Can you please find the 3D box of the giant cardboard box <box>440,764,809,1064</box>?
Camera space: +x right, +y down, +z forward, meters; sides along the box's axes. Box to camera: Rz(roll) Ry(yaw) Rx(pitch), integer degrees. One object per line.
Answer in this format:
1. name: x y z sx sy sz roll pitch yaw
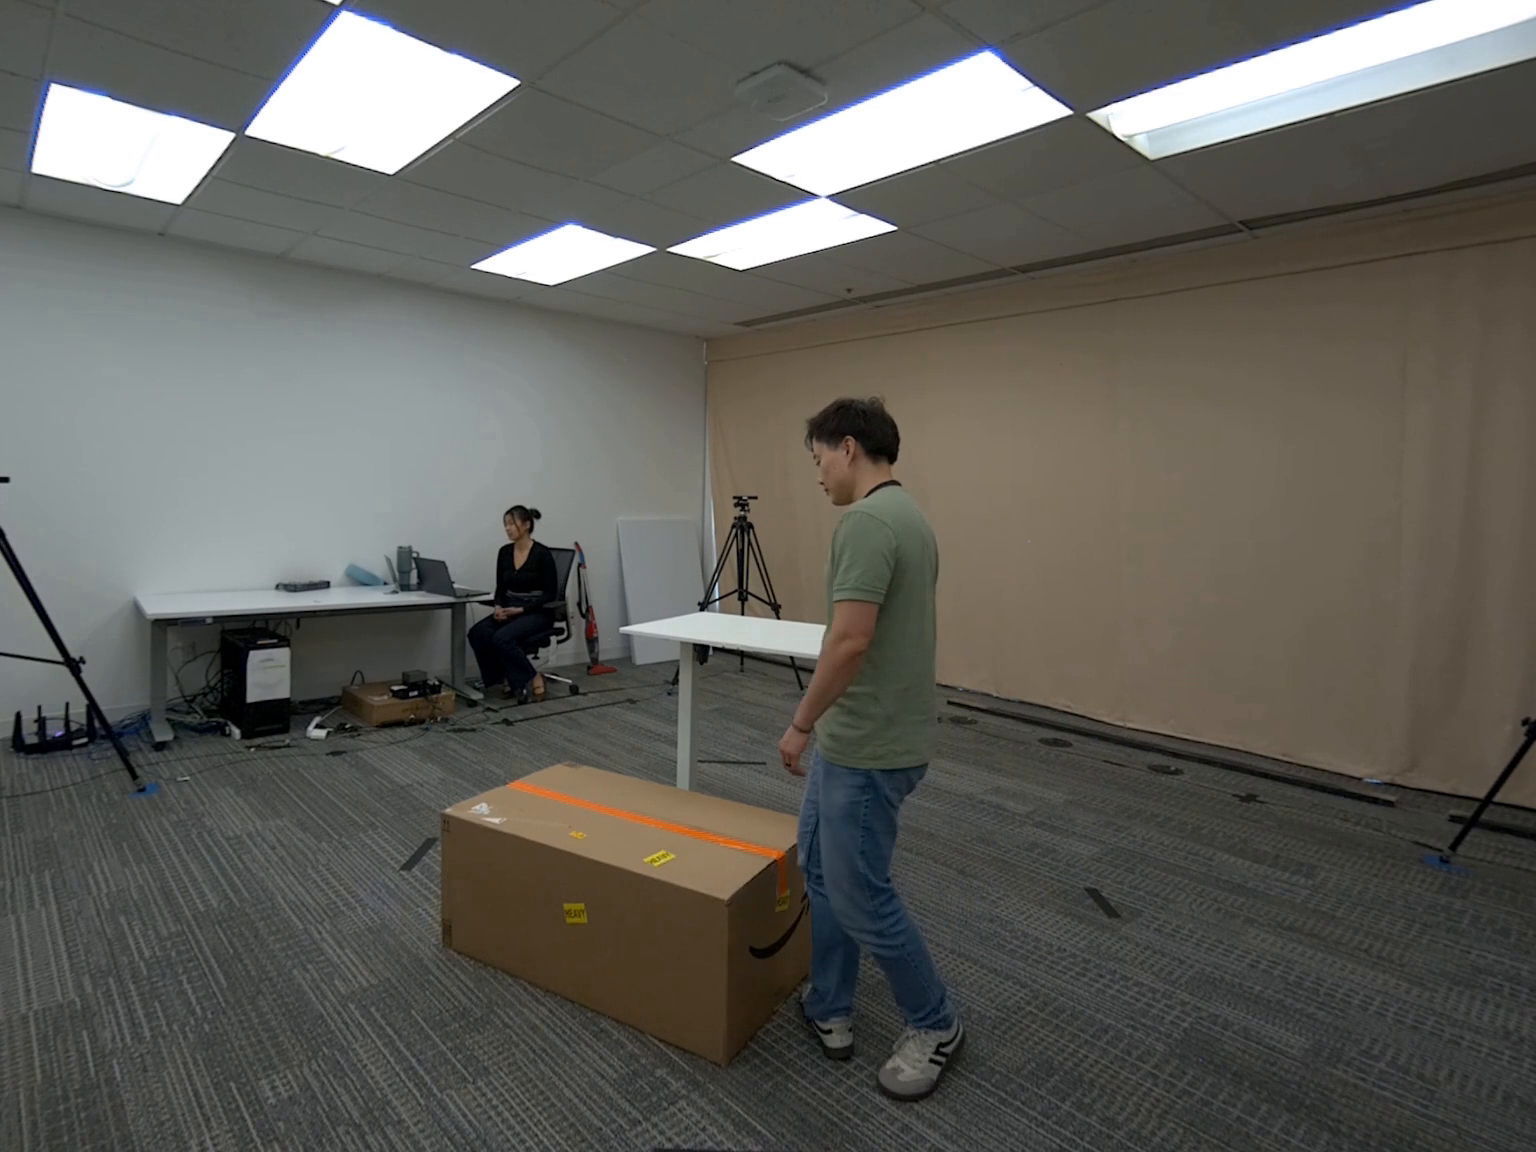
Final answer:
1. giant cardboard box: -0.417 0.933 2.547 1.048 0.425 0.567 4 6 30
